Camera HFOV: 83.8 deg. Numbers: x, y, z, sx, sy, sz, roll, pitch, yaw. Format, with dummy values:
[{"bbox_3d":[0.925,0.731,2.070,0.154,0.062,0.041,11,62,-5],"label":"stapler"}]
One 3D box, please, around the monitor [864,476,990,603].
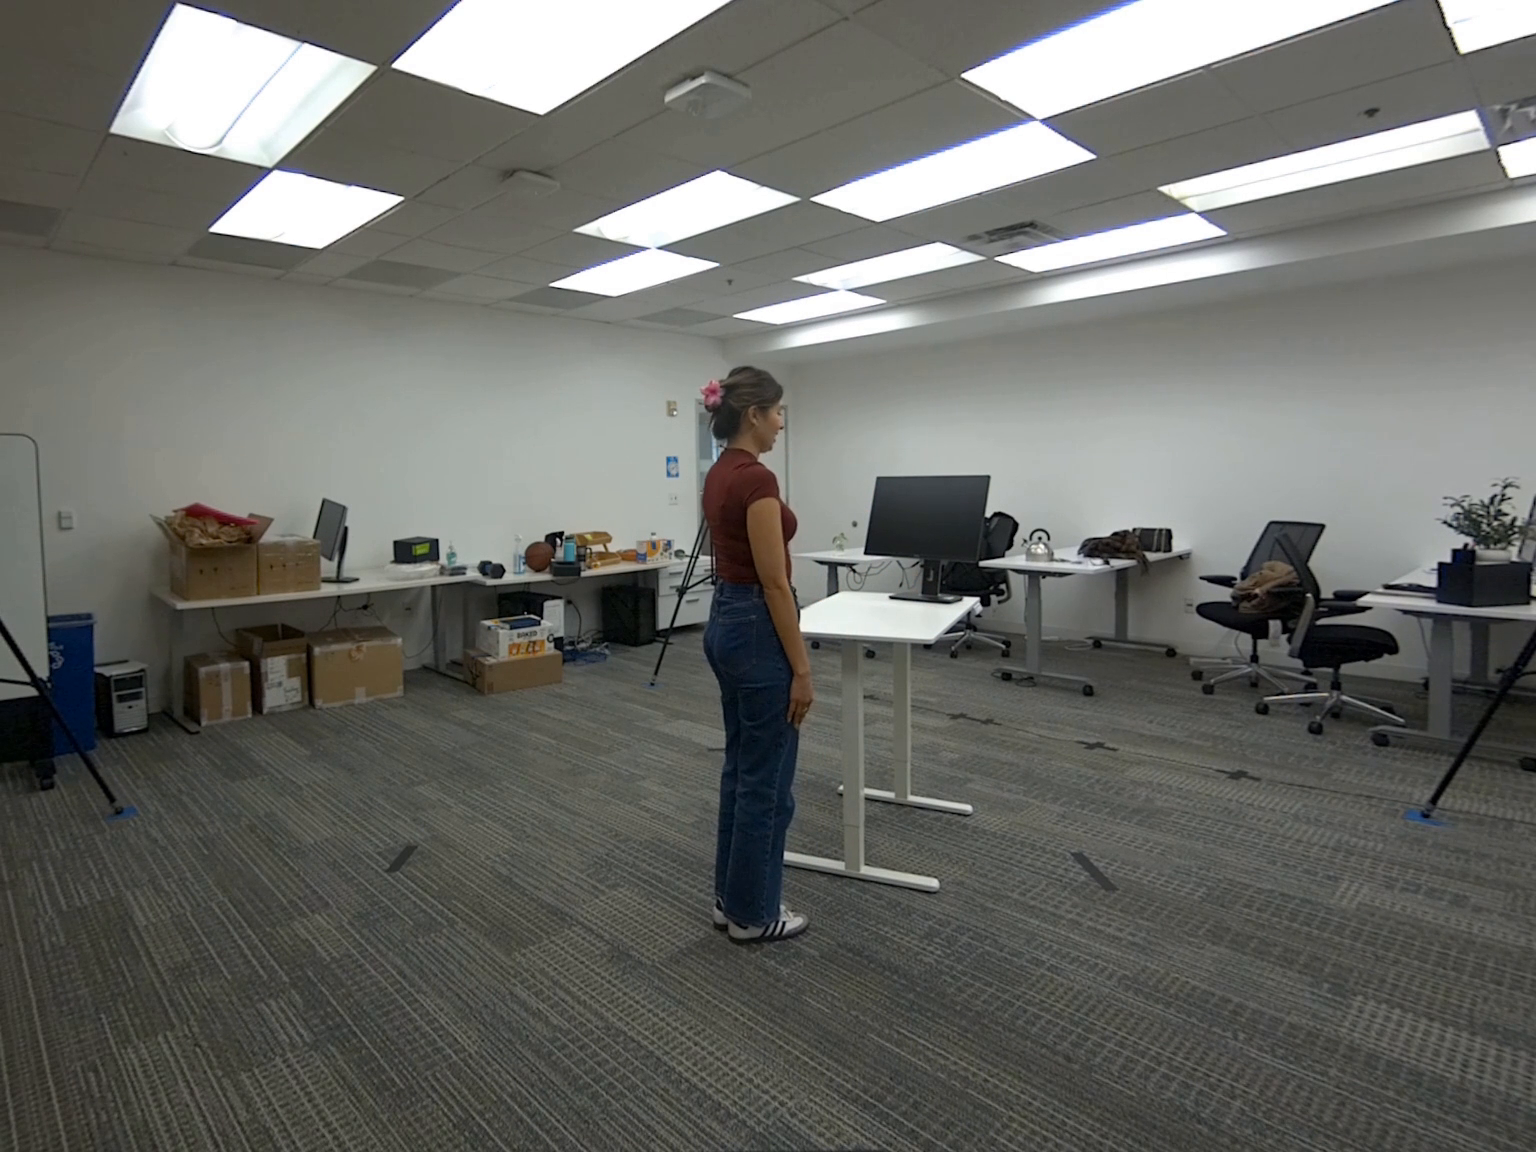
[{"bbox_3d":[0.672,-0.155,3.567,0.556,0.521,0.182,4,3,41],"label":"monitor"}]
